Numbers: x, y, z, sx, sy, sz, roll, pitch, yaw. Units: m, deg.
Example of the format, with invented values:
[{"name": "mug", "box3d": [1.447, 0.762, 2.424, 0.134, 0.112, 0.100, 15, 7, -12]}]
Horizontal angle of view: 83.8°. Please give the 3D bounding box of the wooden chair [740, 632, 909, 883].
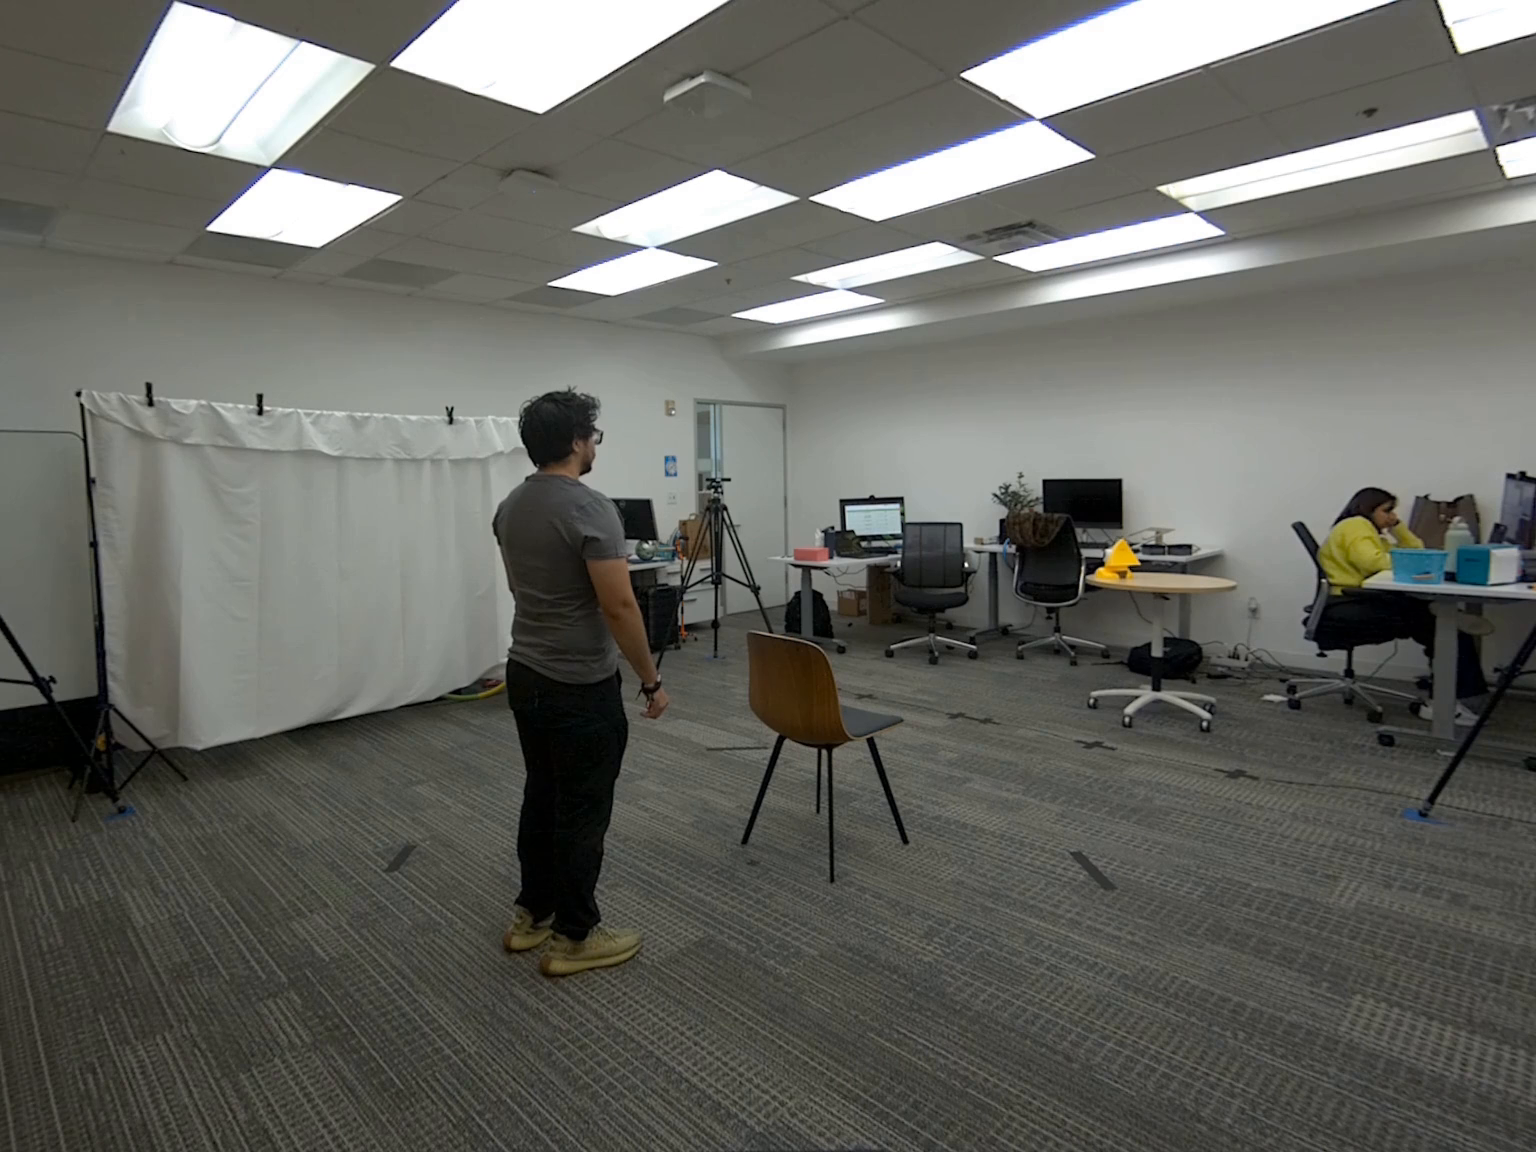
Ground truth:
[{"name": "wooden chair", "box3d": [0.217, 0.598, 3.227, 0.511, 0.871, 0.493, -11, 10, -44]}]
